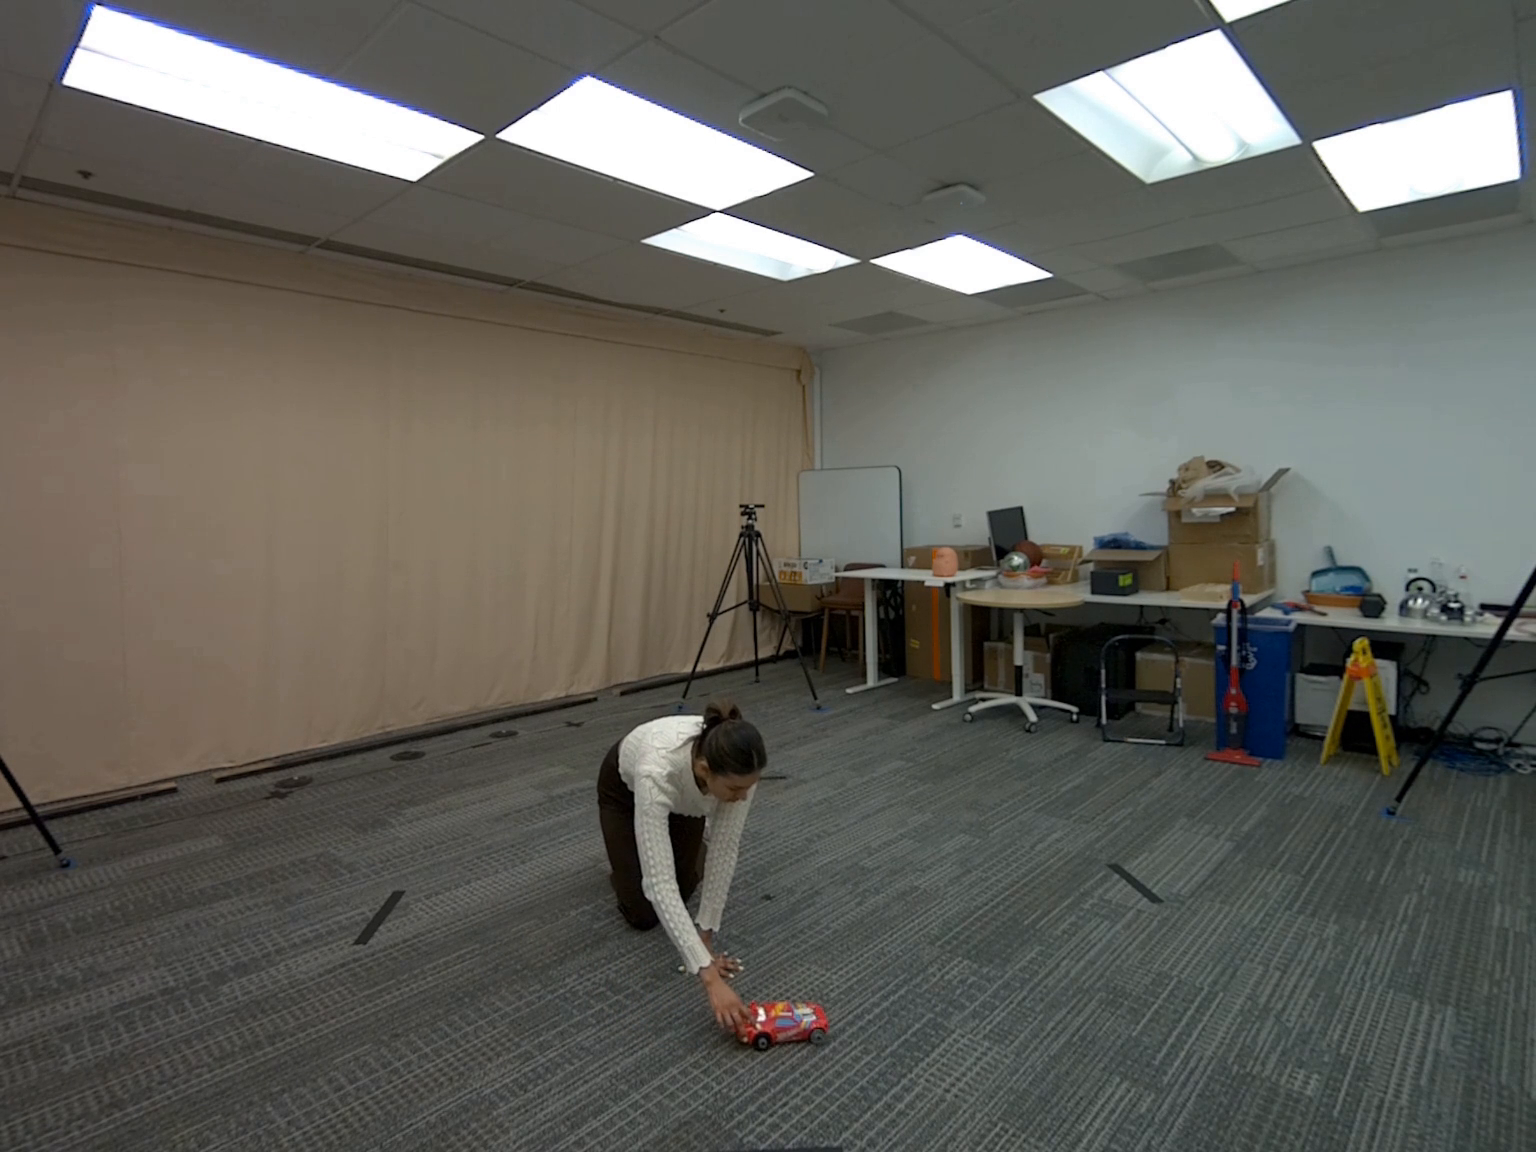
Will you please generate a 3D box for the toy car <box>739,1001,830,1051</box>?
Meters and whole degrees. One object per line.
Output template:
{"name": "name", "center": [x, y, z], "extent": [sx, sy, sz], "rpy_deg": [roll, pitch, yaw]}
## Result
{"name": "toy car", "center": [0.025, 1.176, 2.201], "extent": [0.252, 0.083, 0.132], "rpy_deg": [9, 2, -10]}
